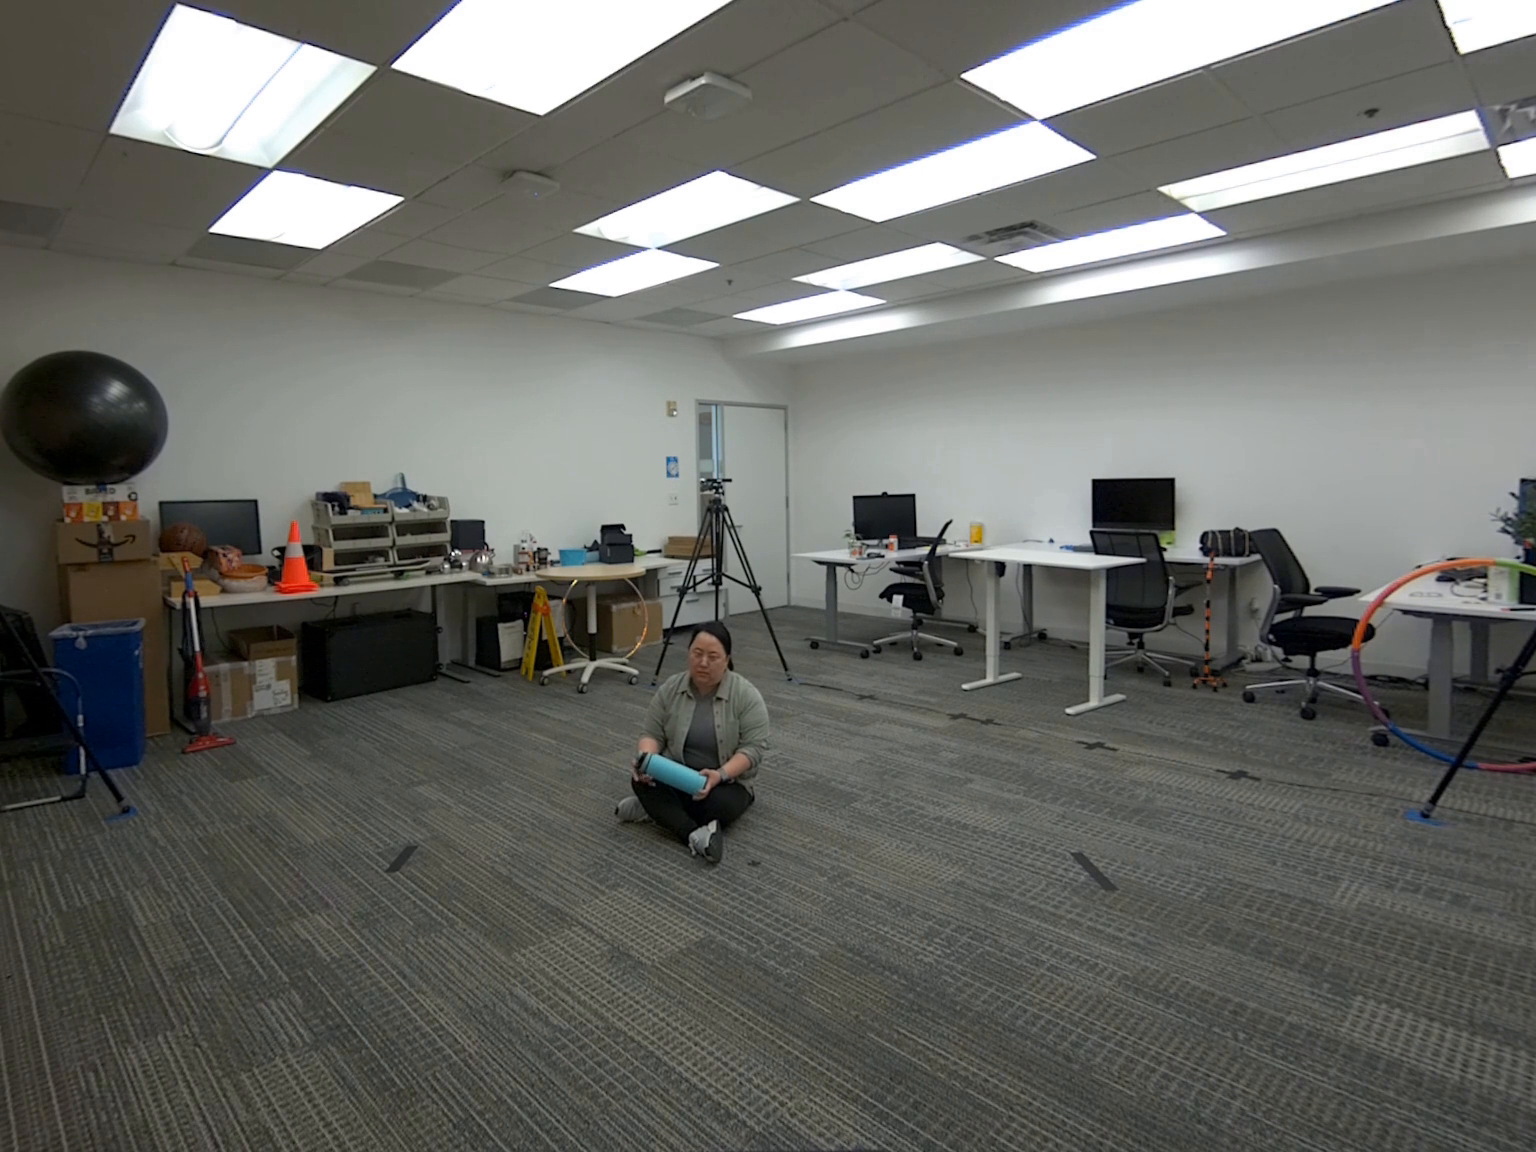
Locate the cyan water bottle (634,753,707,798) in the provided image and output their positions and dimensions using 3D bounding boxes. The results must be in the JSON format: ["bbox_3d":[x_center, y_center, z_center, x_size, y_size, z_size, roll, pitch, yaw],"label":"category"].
[{"bbox_3d":[-0.386,0.770,3.331,0.284,0.092,0.092,22,5,0],"label":"cyan water bottle"}]
